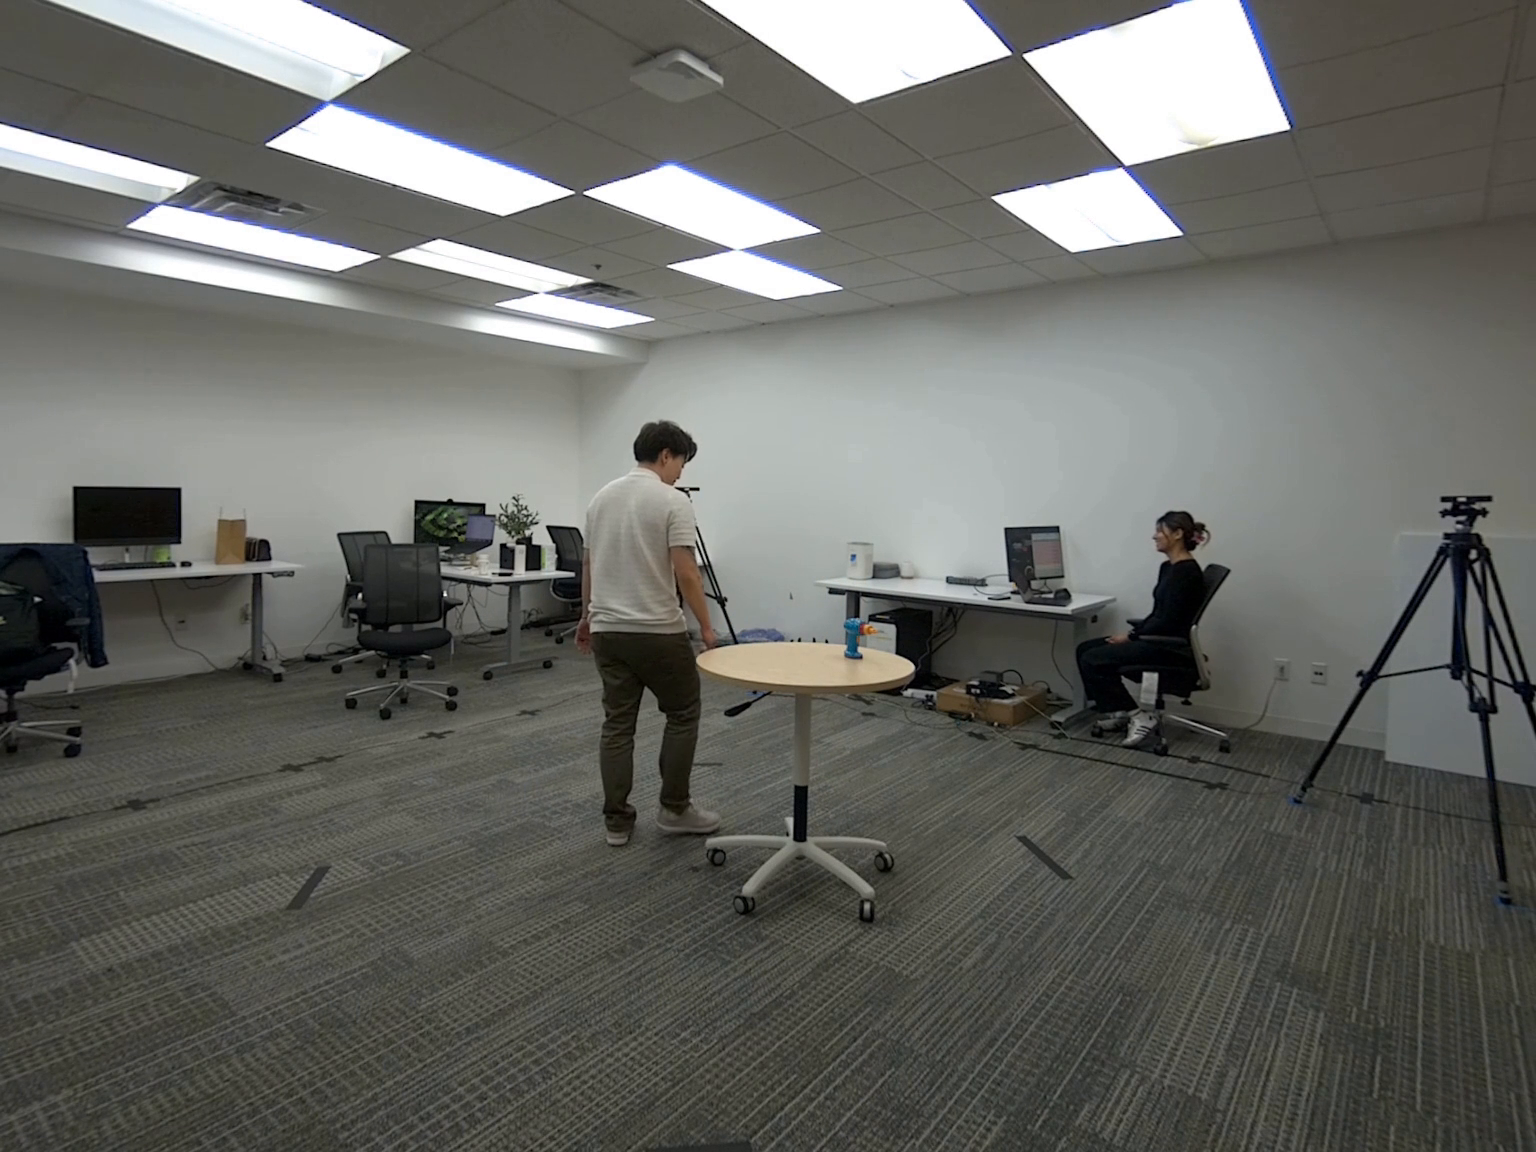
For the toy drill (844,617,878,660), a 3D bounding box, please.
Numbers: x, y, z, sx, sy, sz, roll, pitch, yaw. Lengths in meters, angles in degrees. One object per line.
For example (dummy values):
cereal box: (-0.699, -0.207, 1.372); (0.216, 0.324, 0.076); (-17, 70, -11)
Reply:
toy drill: (0.326, 0.223, 3.064); (0.059, 0.145, 0.175); (-2, 4, -36)
